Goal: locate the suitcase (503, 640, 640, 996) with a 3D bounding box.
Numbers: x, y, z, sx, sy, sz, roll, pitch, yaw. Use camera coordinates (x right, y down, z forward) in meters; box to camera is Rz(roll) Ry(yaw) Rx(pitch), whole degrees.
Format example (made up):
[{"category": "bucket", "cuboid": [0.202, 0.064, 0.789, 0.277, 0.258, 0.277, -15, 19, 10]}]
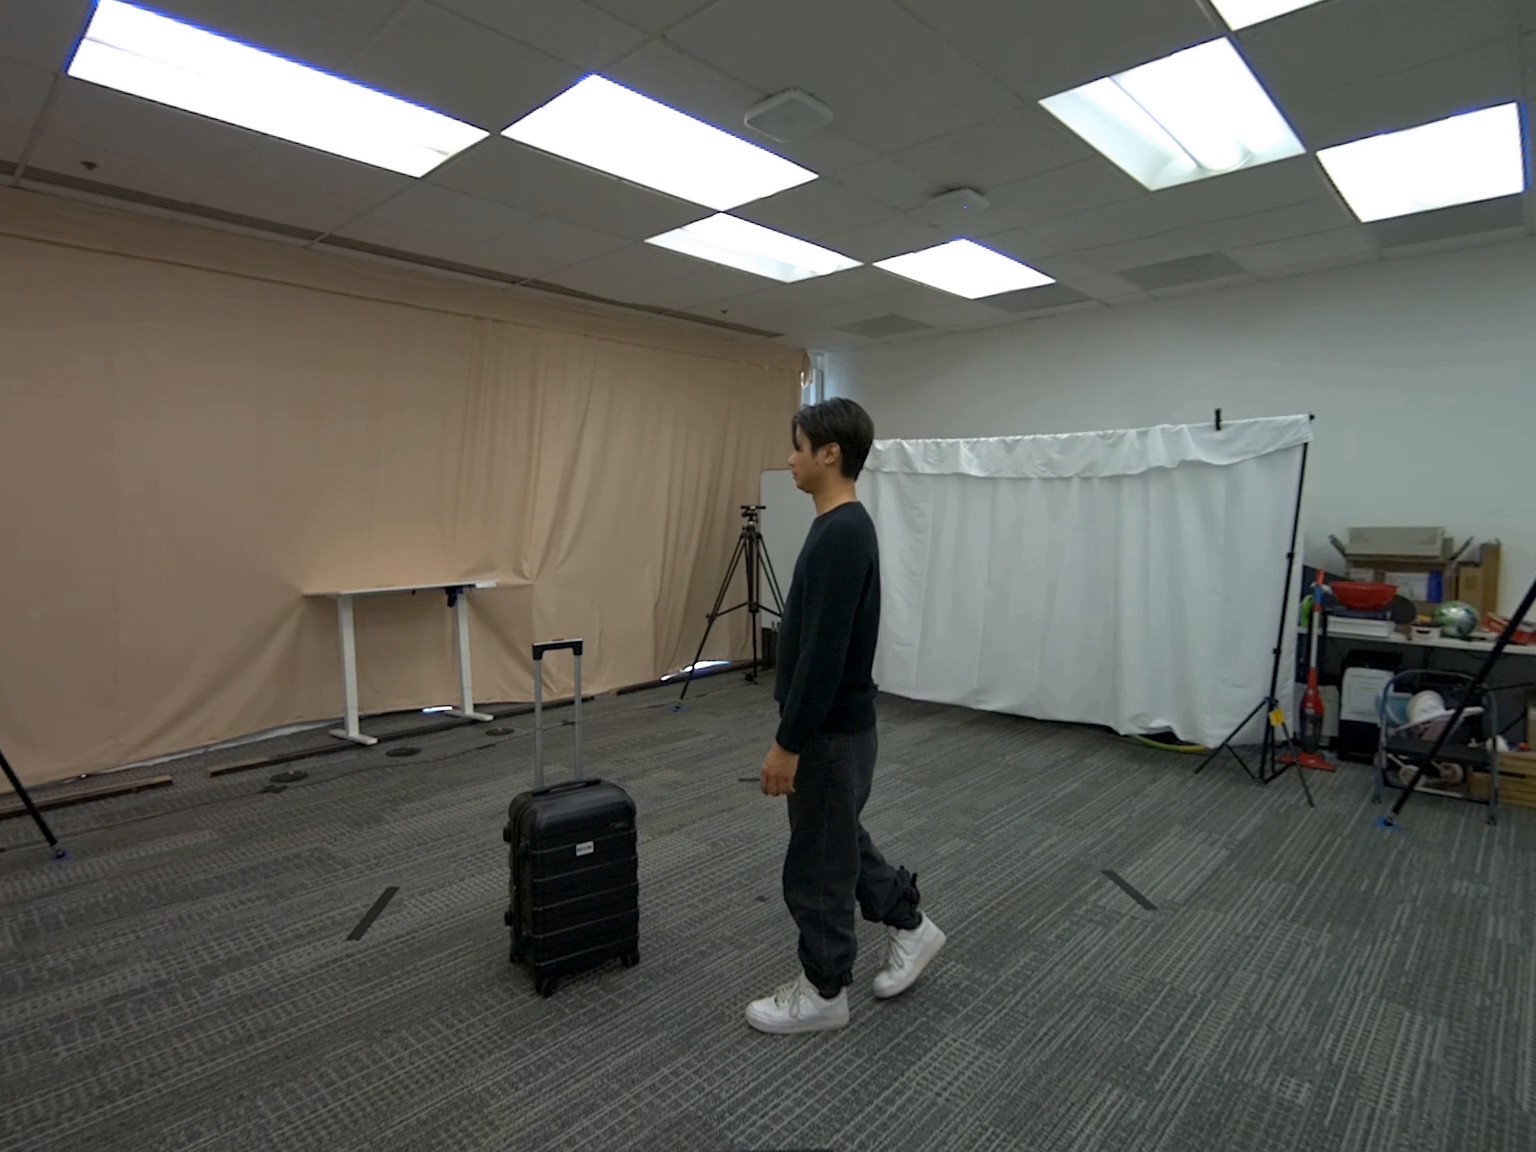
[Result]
[{"category": "suitcase", "cuboid": [-0.583, 0.709, 2.528, 0.373, 0.975, 0.265, -2, 6, -31]}]
